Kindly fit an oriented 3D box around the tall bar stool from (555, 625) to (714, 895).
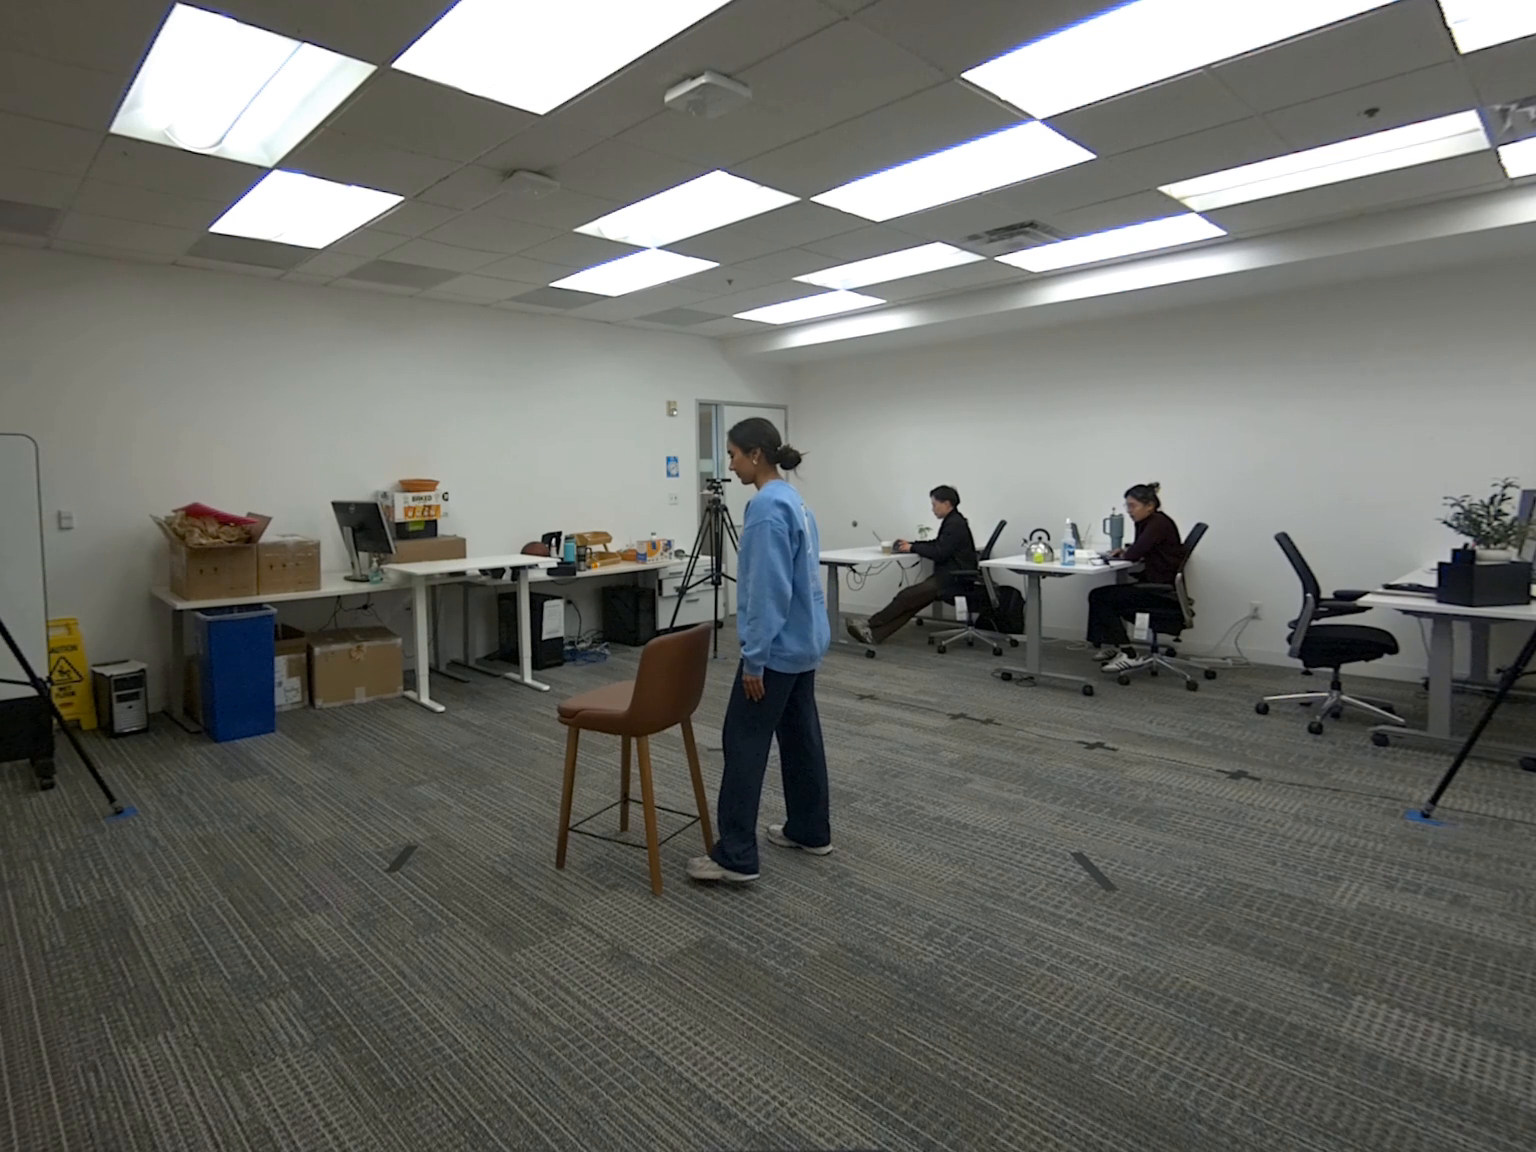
[{"bbox_3d":[-0.475,0.611,3.111,0.480,0.886,0.446,4,6,30],"label":"tall bar stool"}]
